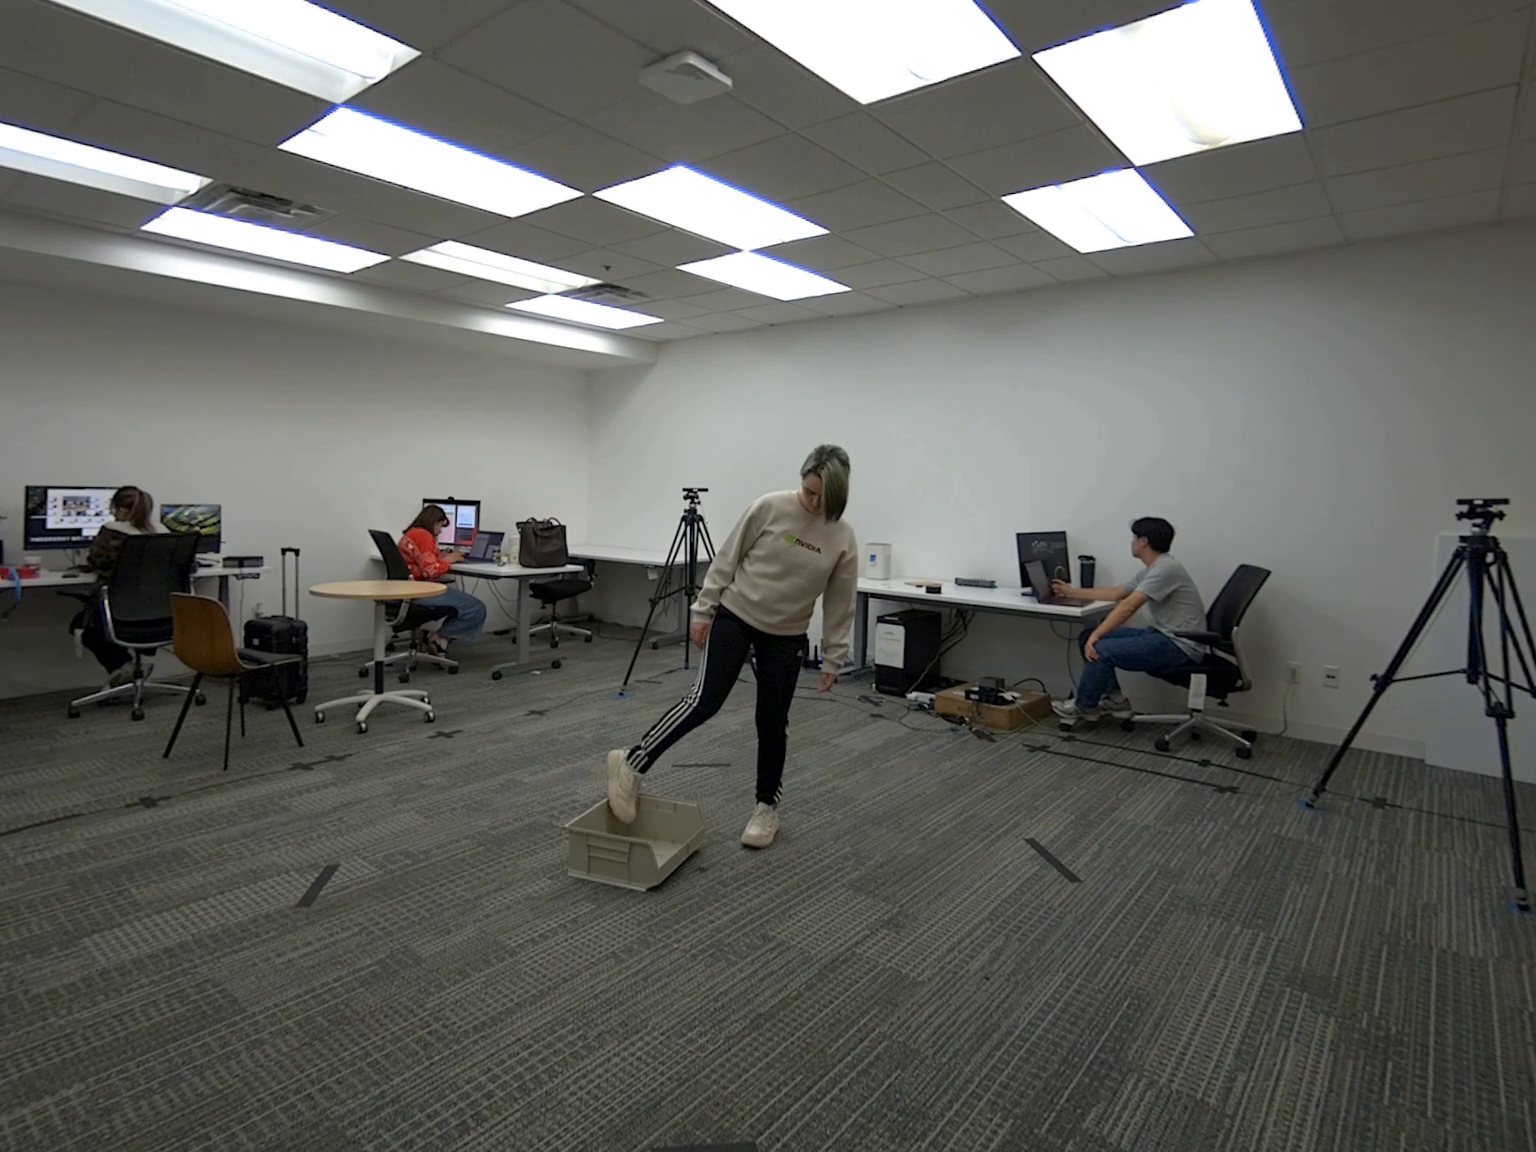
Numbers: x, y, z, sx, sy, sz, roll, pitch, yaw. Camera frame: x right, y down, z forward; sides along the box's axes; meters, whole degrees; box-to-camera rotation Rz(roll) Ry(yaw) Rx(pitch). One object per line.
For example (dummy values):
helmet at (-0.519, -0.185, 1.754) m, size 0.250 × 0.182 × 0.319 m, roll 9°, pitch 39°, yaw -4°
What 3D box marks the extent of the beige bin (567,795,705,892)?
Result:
beige bin at (-0.494, 0.968, 3.153) m, size 0.386 × 0.188 × 0.414 m, roll 2°, pitch 5°, yaw 20°
